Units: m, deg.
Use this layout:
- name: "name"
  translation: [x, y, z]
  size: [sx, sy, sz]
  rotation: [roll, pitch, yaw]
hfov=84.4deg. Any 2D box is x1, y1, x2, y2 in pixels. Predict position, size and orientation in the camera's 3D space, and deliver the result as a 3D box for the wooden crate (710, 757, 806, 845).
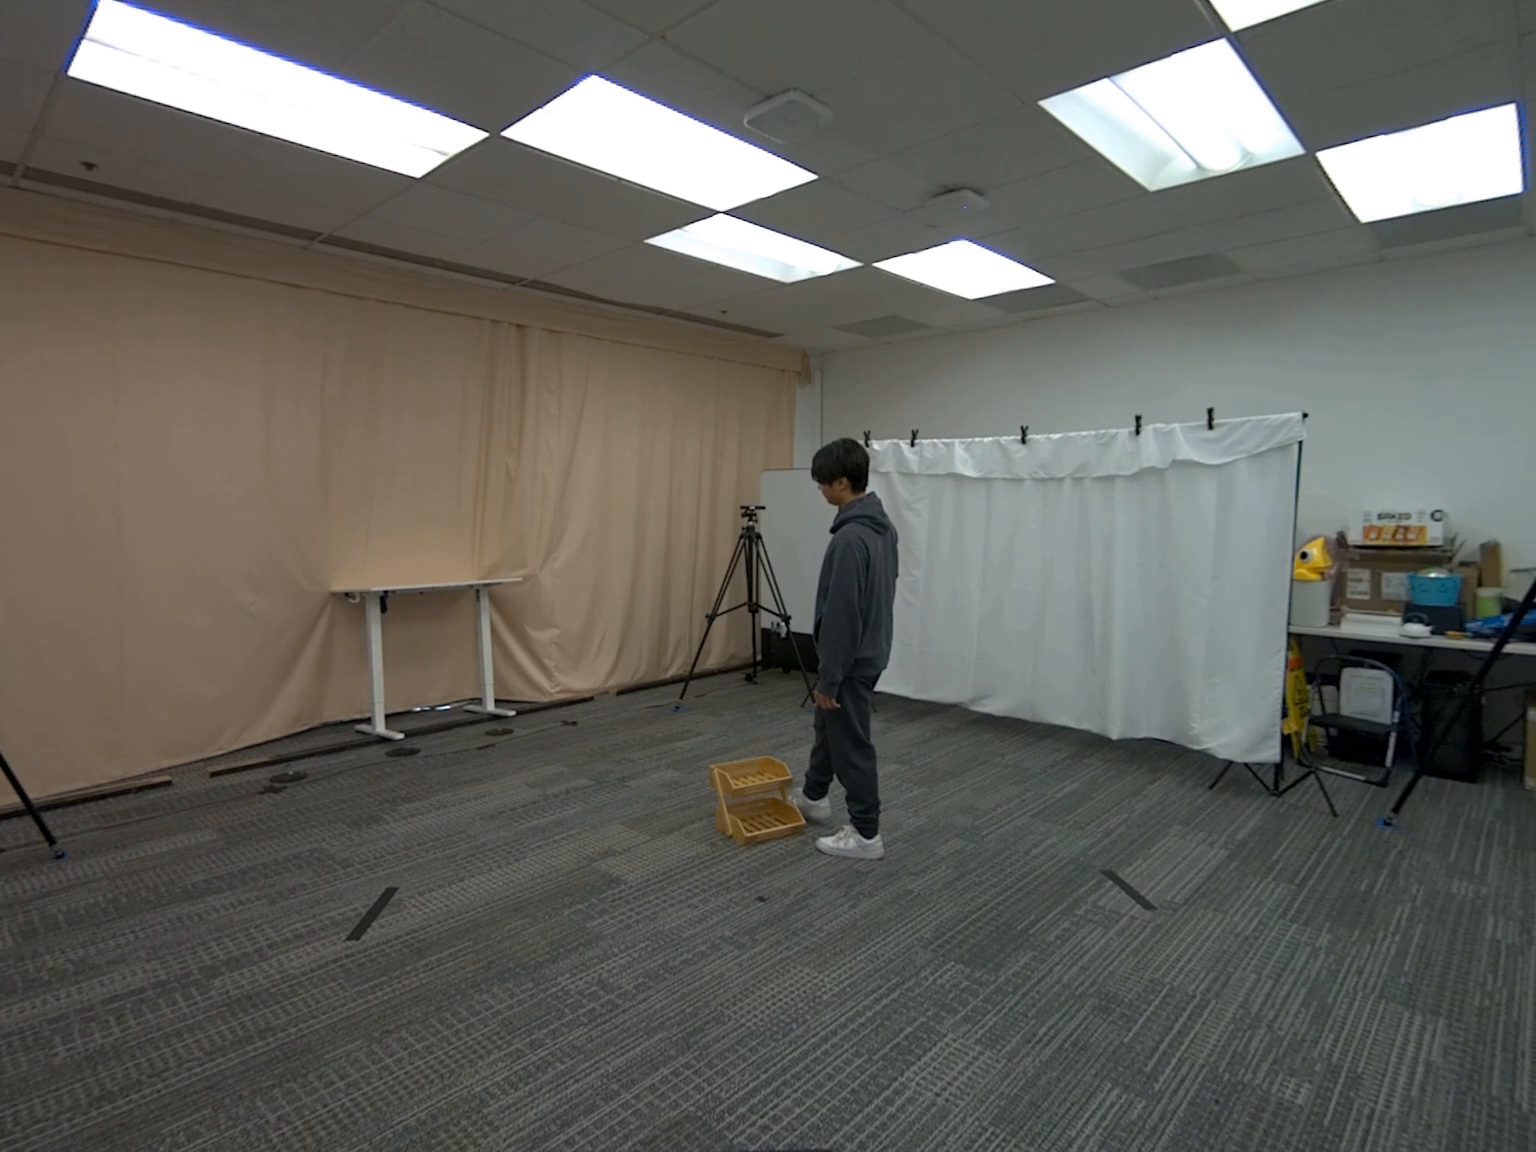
- name: "wooden crate"
  translation: [-0.042, 0.954, 3.629]
  size: [0.315, 0.273, 0.311]
  rotation: [-2, 3, -31]
